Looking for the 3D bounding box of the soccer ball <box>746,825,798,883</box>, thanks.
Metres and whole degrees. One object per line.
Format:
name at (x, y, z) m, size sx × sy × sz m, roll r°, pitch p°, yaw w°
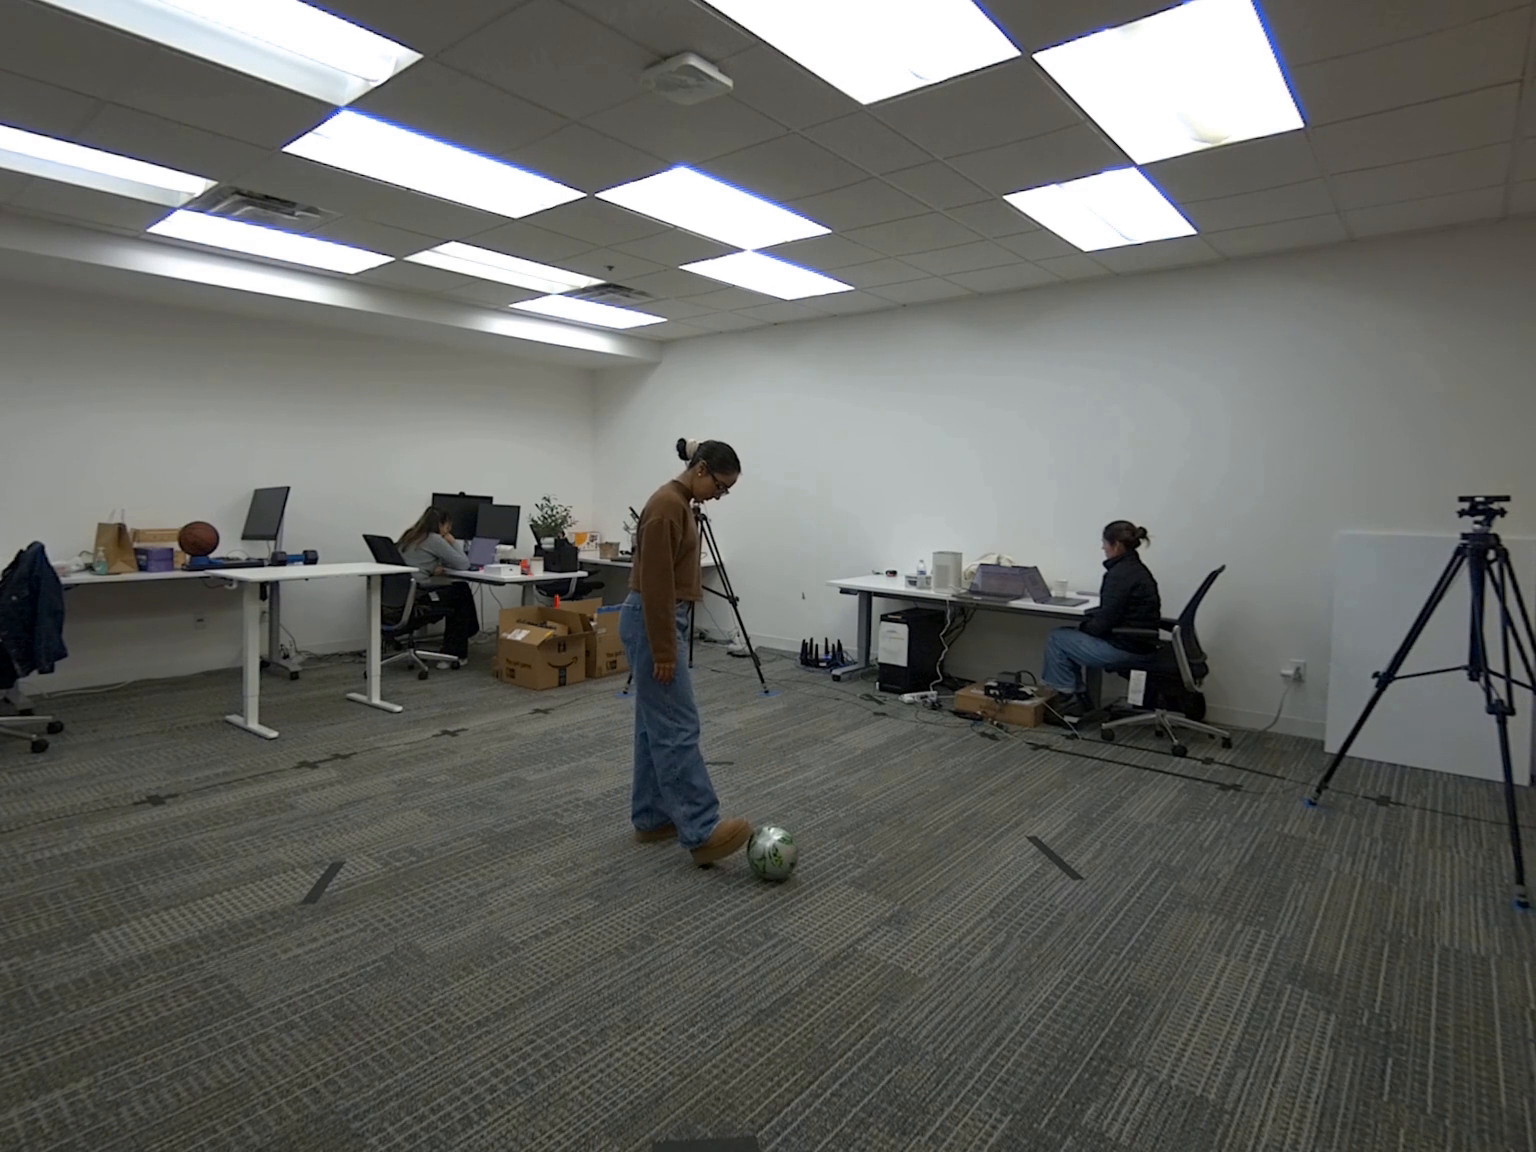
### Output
soccer ball at (0.015, 0.985, 3.045) m, size 0.187 × 0.187 × 0.188 m, roll 1°, pitch 4°, yaw -2°
